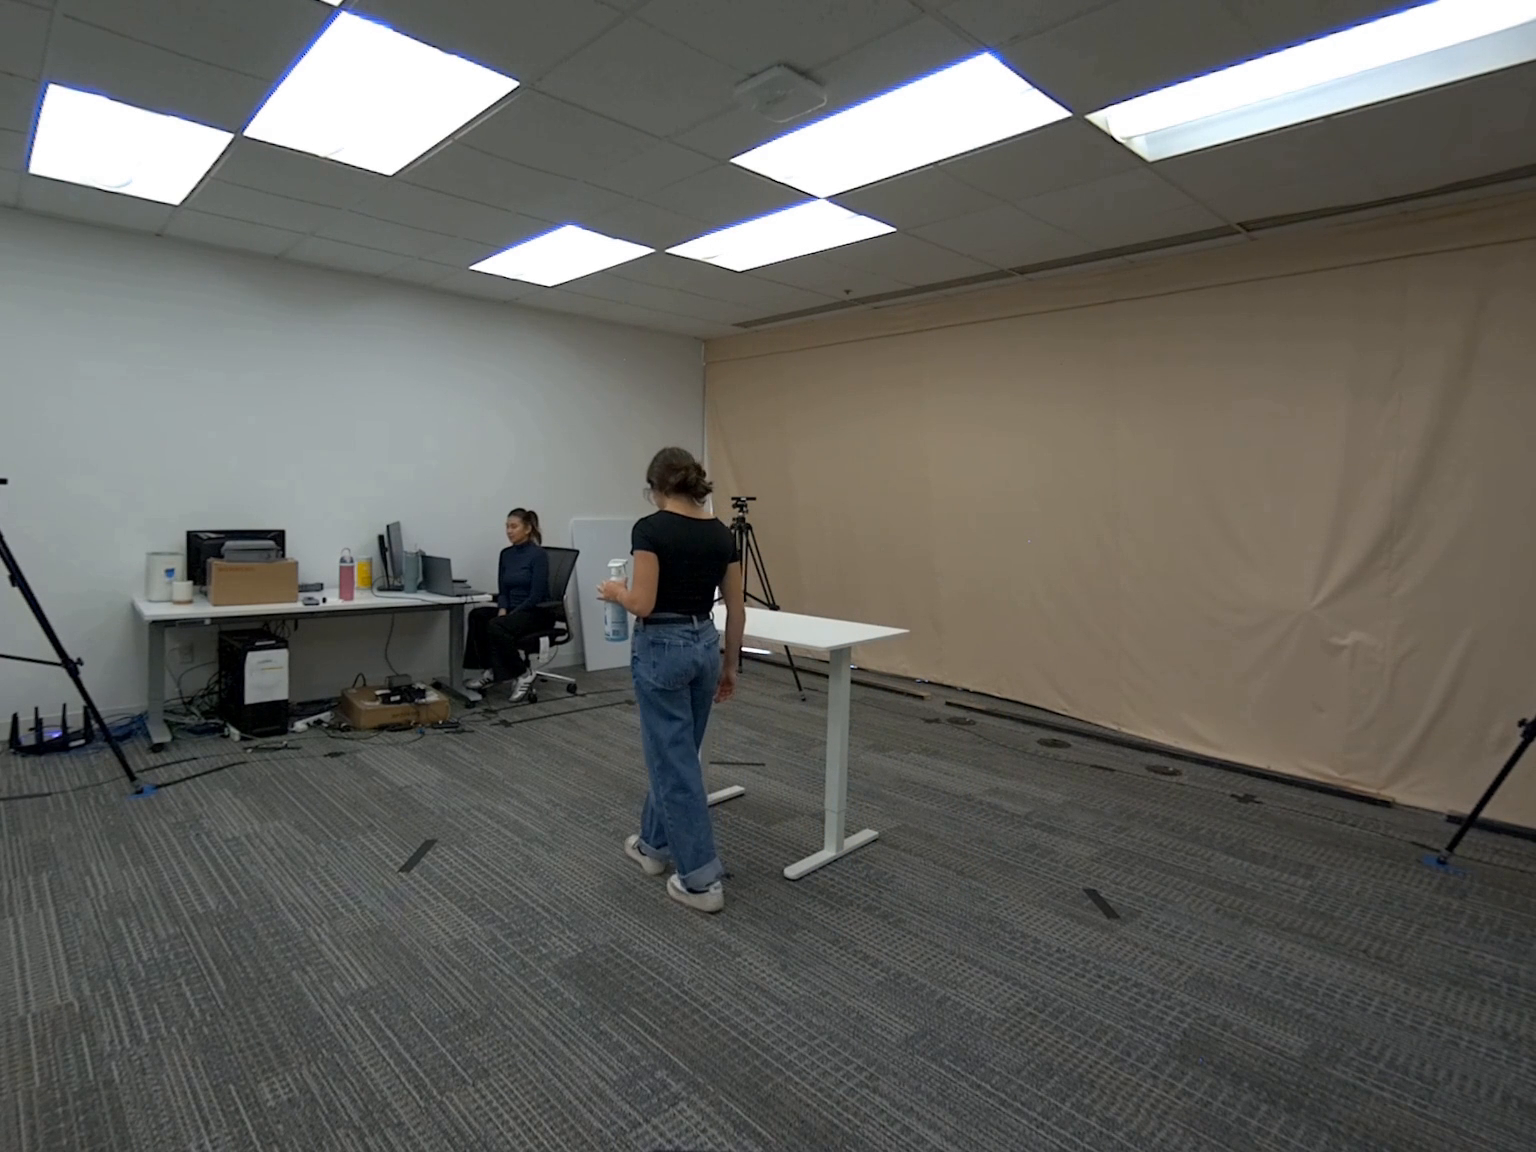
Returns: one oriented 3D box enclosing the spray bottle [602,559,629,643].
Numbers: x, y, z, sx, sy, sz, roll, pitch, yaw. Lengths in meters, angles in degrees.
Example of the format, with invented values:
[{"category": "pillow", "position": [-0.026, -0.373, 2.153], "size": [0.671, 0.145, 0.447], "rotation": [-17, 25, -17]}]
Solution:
[{"category": "spray bottle", "position": [-0.548, 0.083, 3.048], "size": [0.085, 0.296, 0.092], "rotation": [-2, 6, -31]}]
